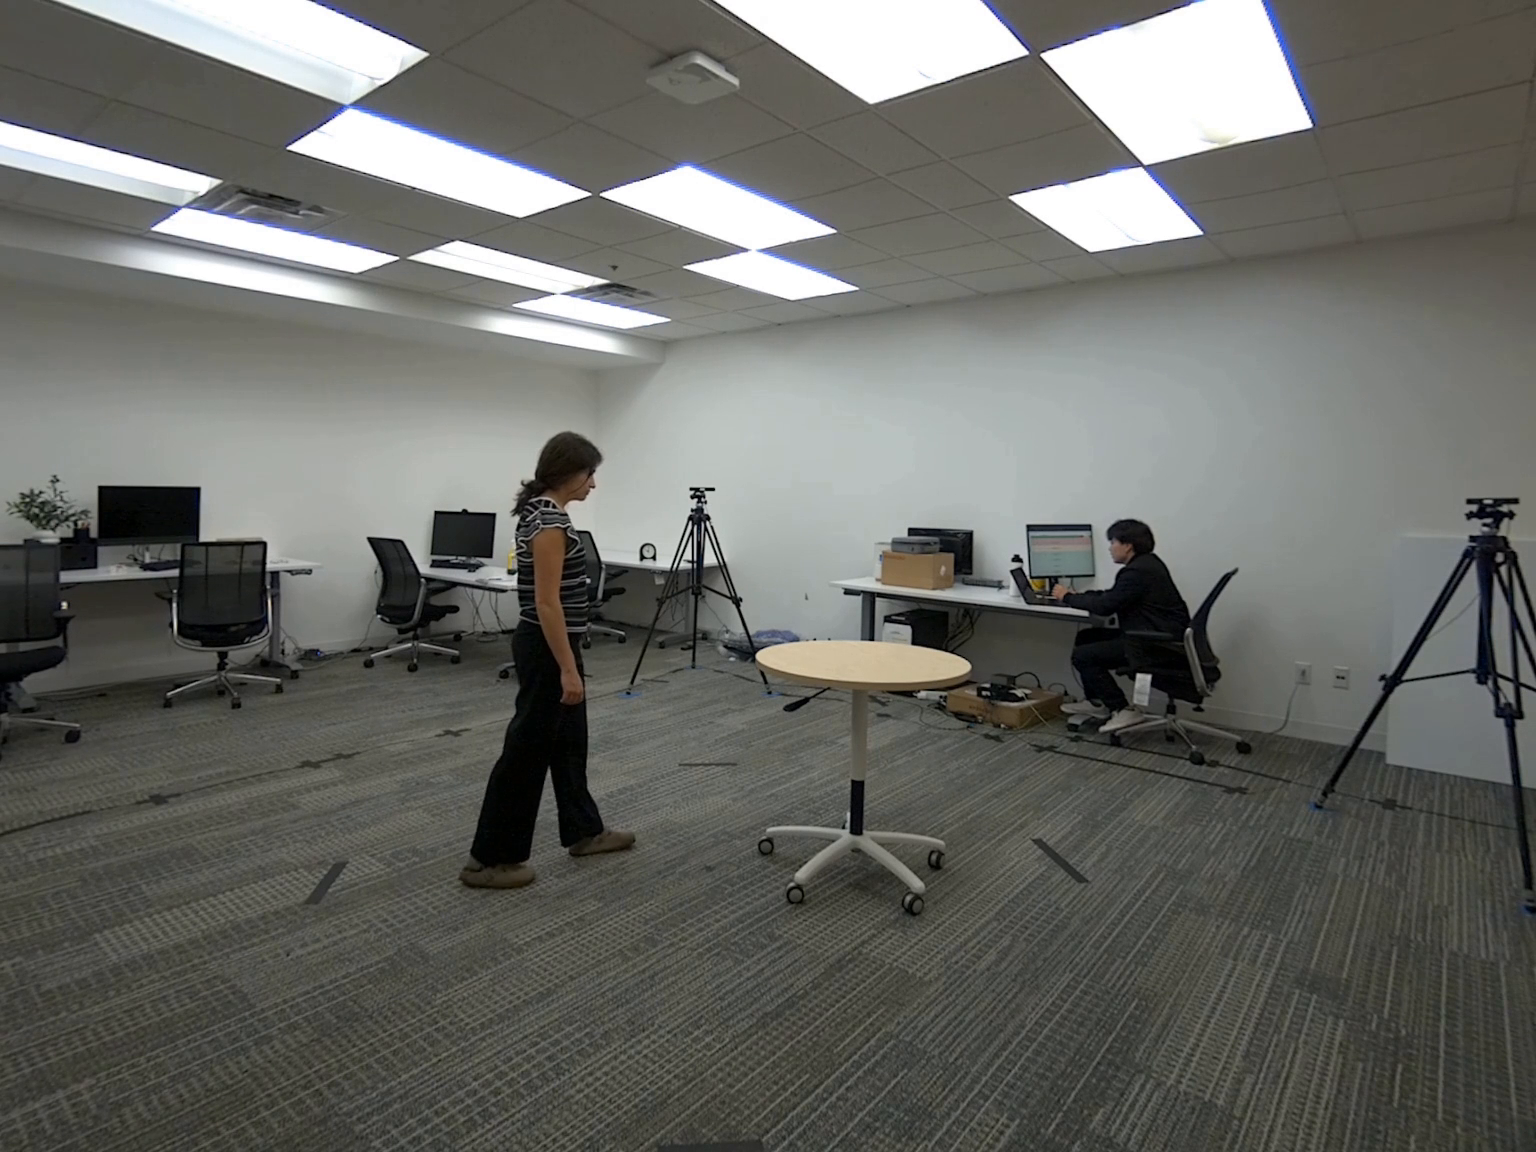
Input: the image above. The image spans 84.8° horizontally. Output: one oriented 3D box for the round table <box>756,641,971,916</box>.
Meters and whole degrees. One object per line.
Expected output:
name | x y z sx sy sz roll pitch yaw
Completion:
round table | 0.321 0.696 3.100 0.763 0.791 0.768 1 4 -2
